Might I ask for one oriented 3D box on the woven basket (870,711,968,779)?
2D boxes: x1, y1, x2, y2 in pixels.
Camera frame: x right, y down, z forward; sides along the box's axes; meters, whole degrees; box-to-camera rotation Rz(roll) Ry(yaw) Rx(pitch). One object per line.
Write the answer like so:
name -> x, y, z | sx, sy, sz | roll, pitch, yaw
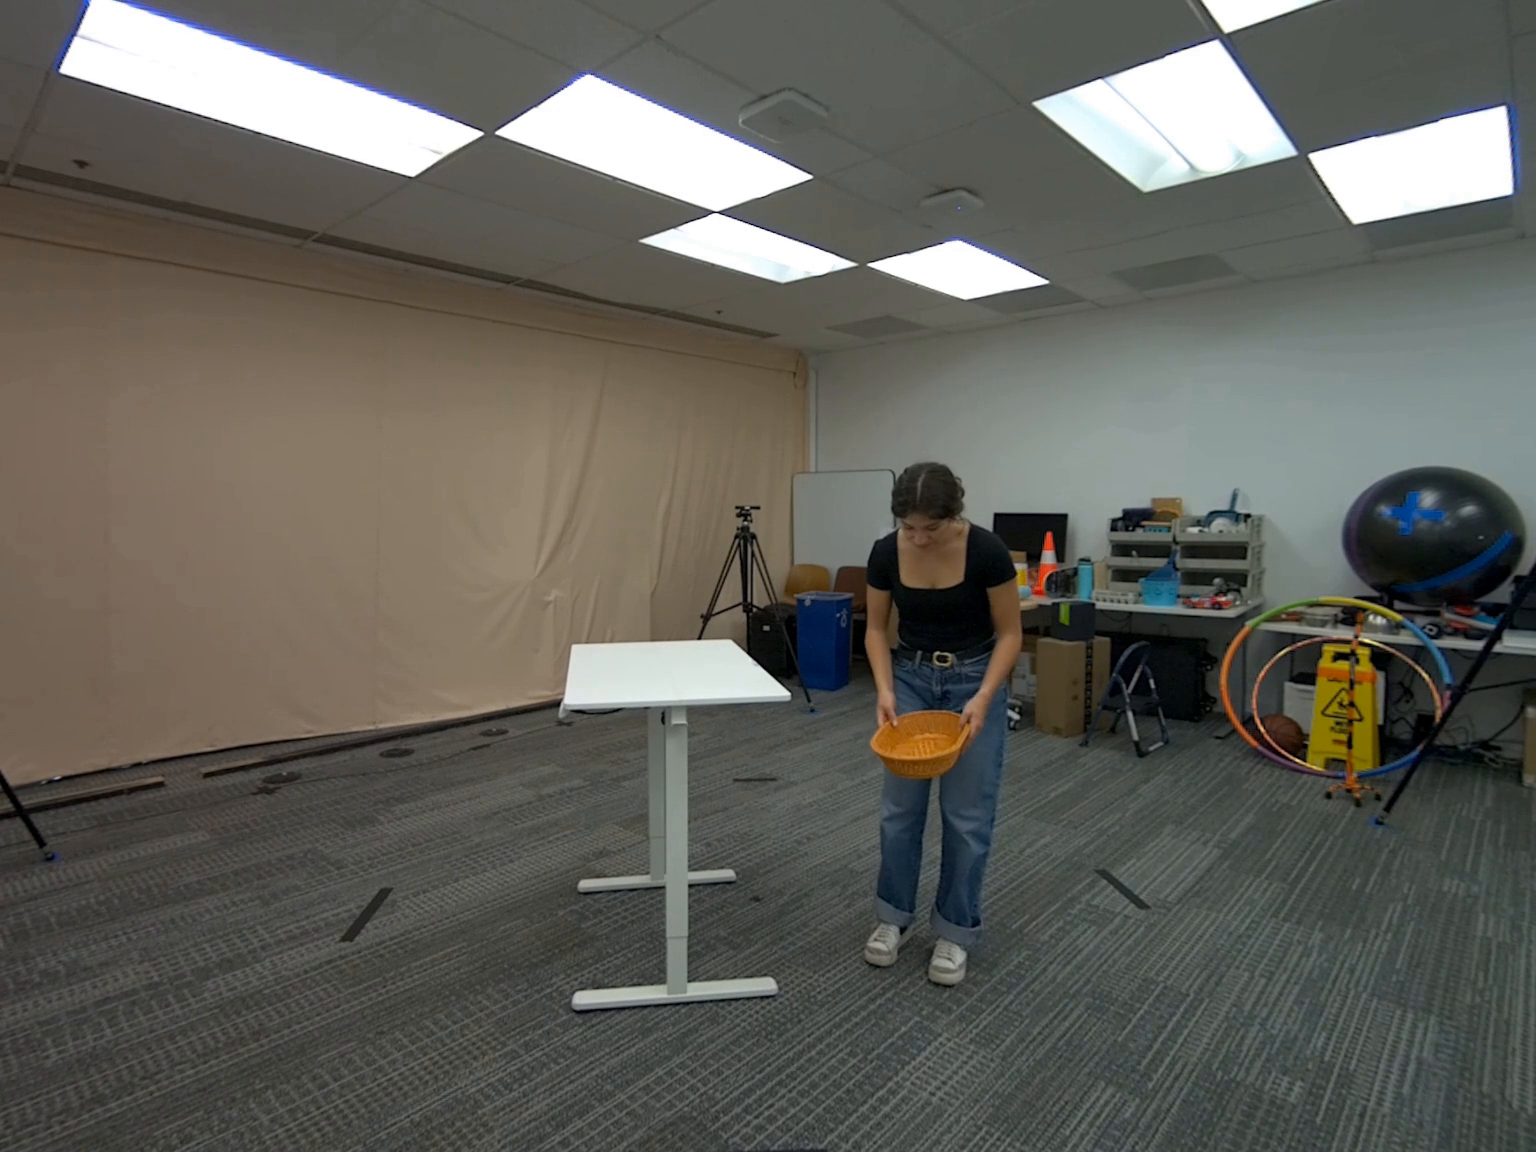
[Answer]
woven basket -> 0.420, 0.461, 2.301 | 0.259, 0.073, 0.344 | -3, 11, 28
